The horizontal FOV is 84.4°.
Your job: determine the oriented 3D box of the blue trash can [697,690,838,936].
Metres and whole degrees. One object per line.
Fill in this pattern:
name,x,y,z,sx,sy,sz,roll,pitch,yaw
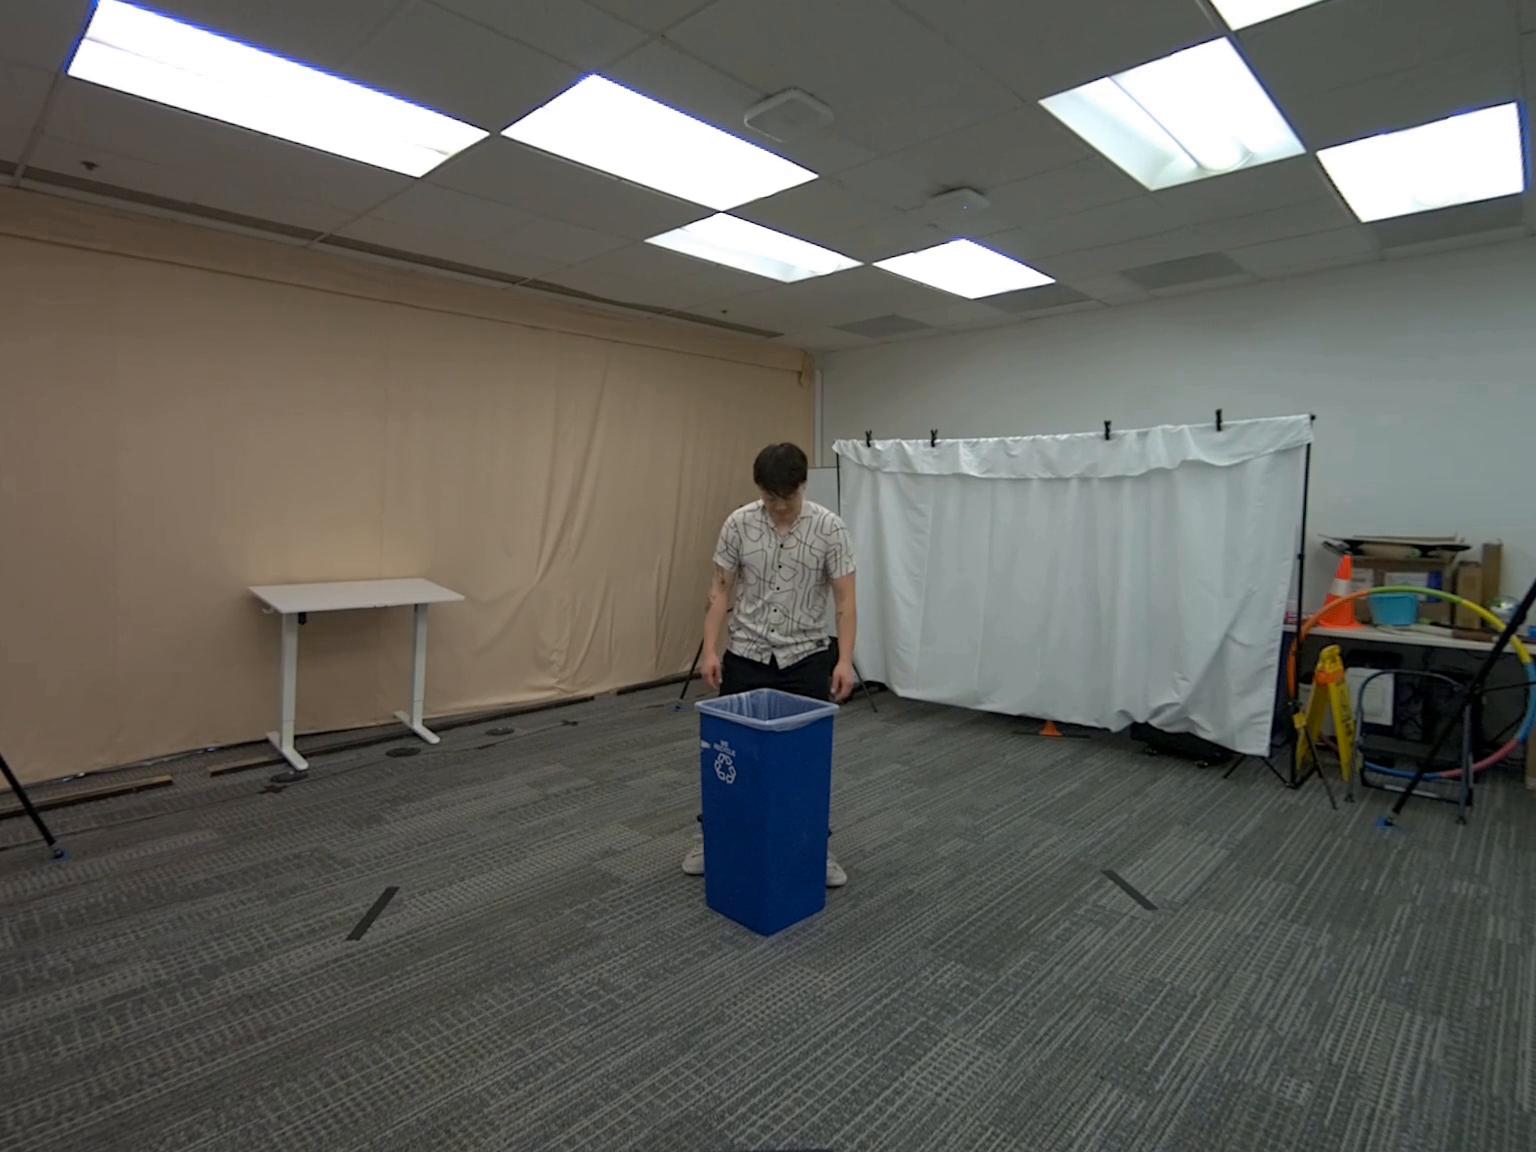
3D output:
blue trash can,-0.007,0.792,2.894,0.362,0.712,0.391,-3,4,-45
